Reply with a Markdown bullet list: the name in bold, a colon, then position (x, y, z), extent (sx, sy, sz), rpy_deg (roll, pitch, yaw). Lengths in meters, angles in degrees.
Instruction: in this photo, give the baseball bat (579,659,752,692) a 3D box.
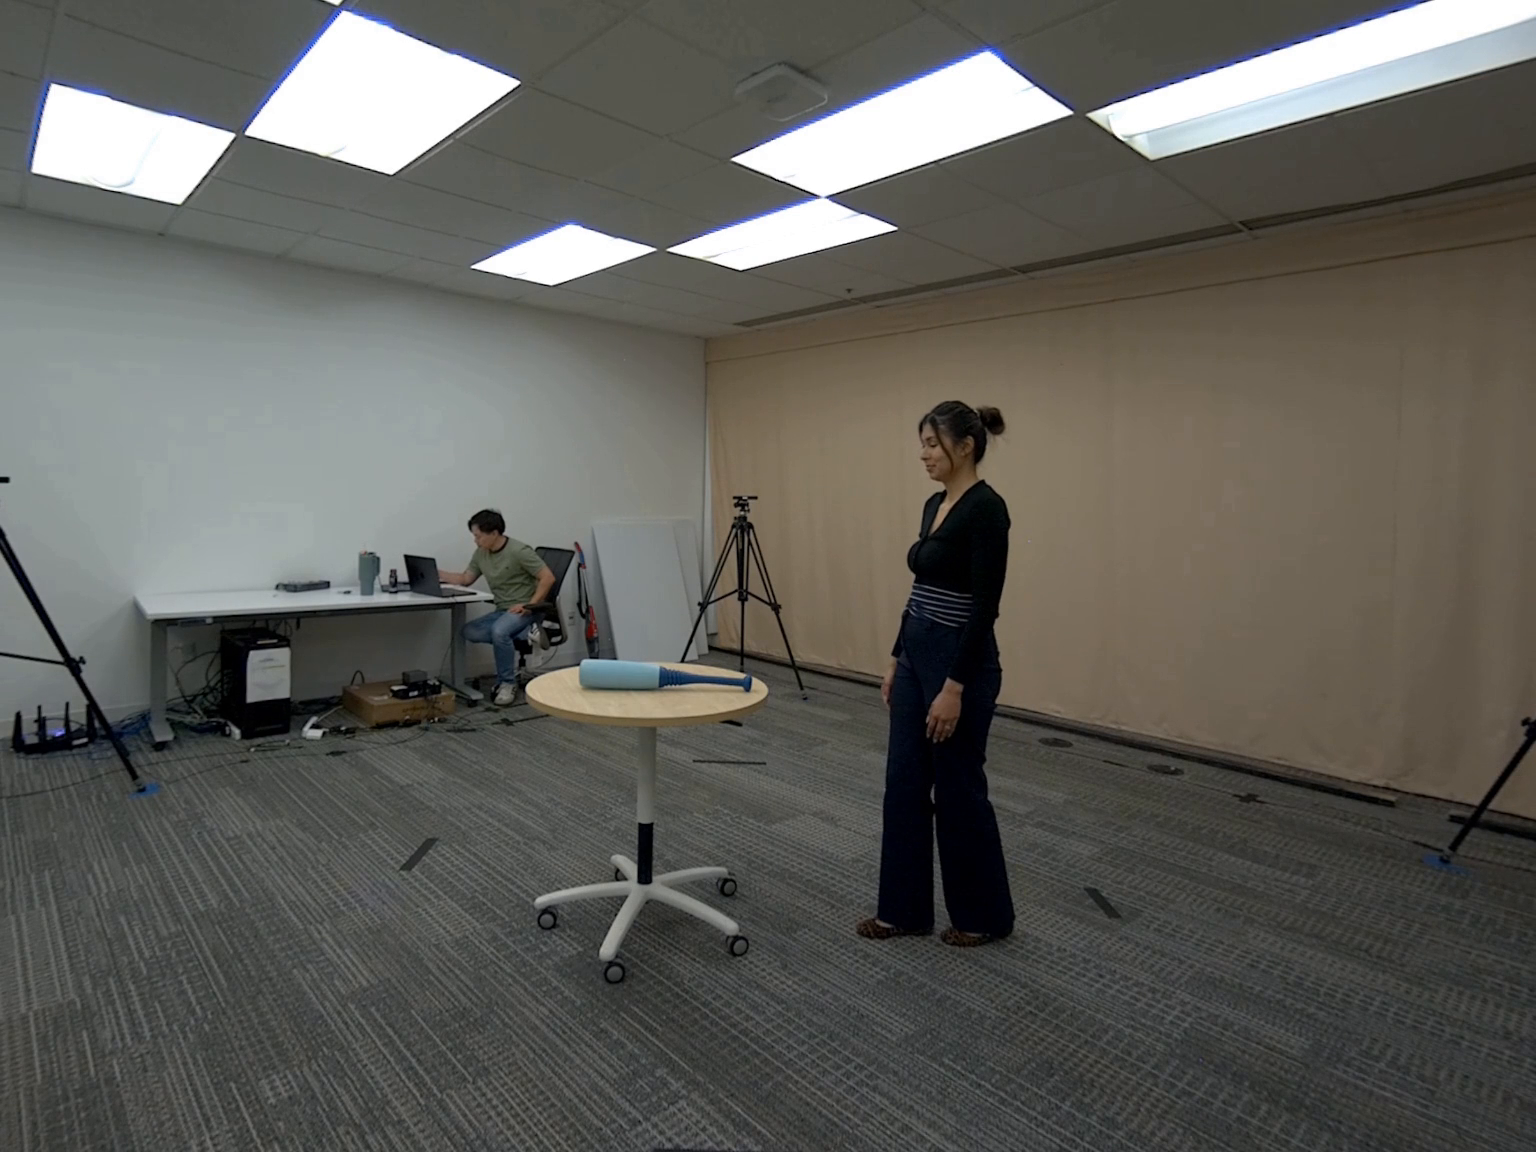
- **baseball bat**: position (-0.322, 0.320, 2.644), extent (0.542, 0.089, 0.089), rpy_deg (3, 4, -2)
